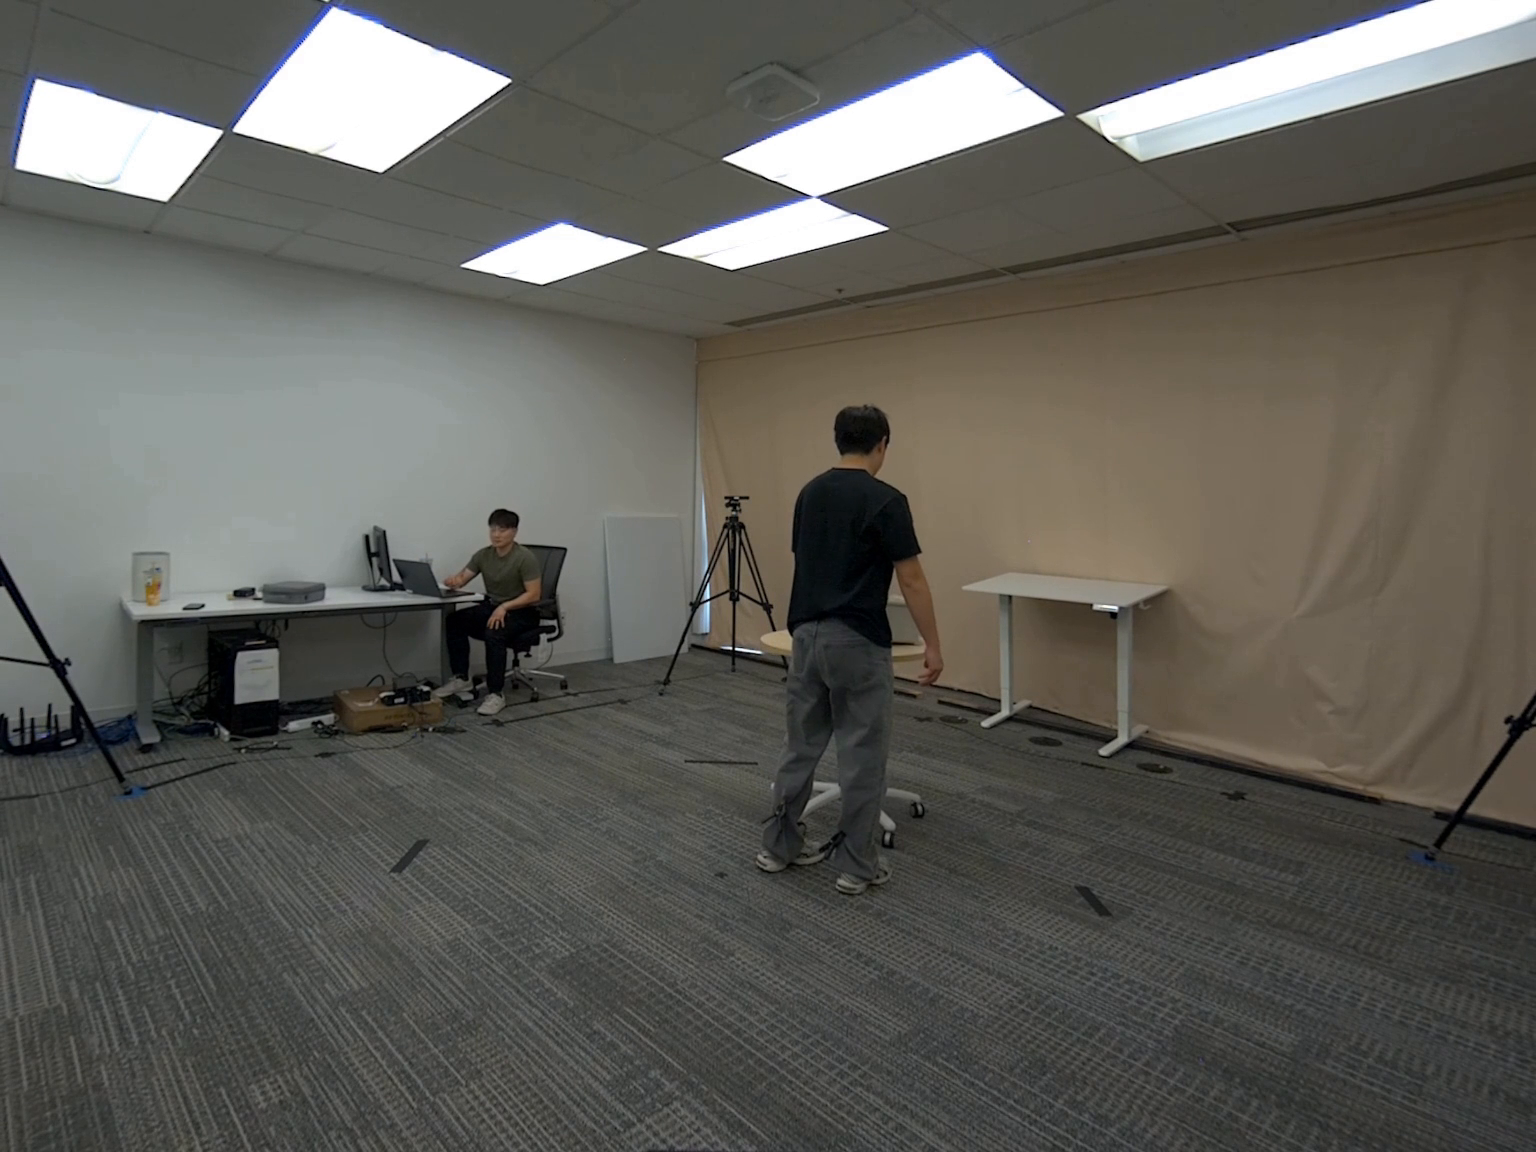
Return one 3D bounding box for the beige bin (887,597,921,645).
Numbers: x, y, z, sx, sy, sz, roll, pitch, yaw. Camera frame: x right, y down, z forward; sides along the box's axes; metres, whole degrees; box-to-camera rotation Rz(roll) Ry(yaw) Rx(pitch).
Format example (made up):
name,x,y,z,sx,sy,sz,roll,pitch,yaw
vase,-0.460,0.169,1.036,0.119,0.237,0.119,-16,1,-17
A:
name,x,y,z,sx,sy,sz,roll,pitch,yaw
beige bin,0.410,0.176,3.701,0.417,0.188,0.383,5,5,-16
